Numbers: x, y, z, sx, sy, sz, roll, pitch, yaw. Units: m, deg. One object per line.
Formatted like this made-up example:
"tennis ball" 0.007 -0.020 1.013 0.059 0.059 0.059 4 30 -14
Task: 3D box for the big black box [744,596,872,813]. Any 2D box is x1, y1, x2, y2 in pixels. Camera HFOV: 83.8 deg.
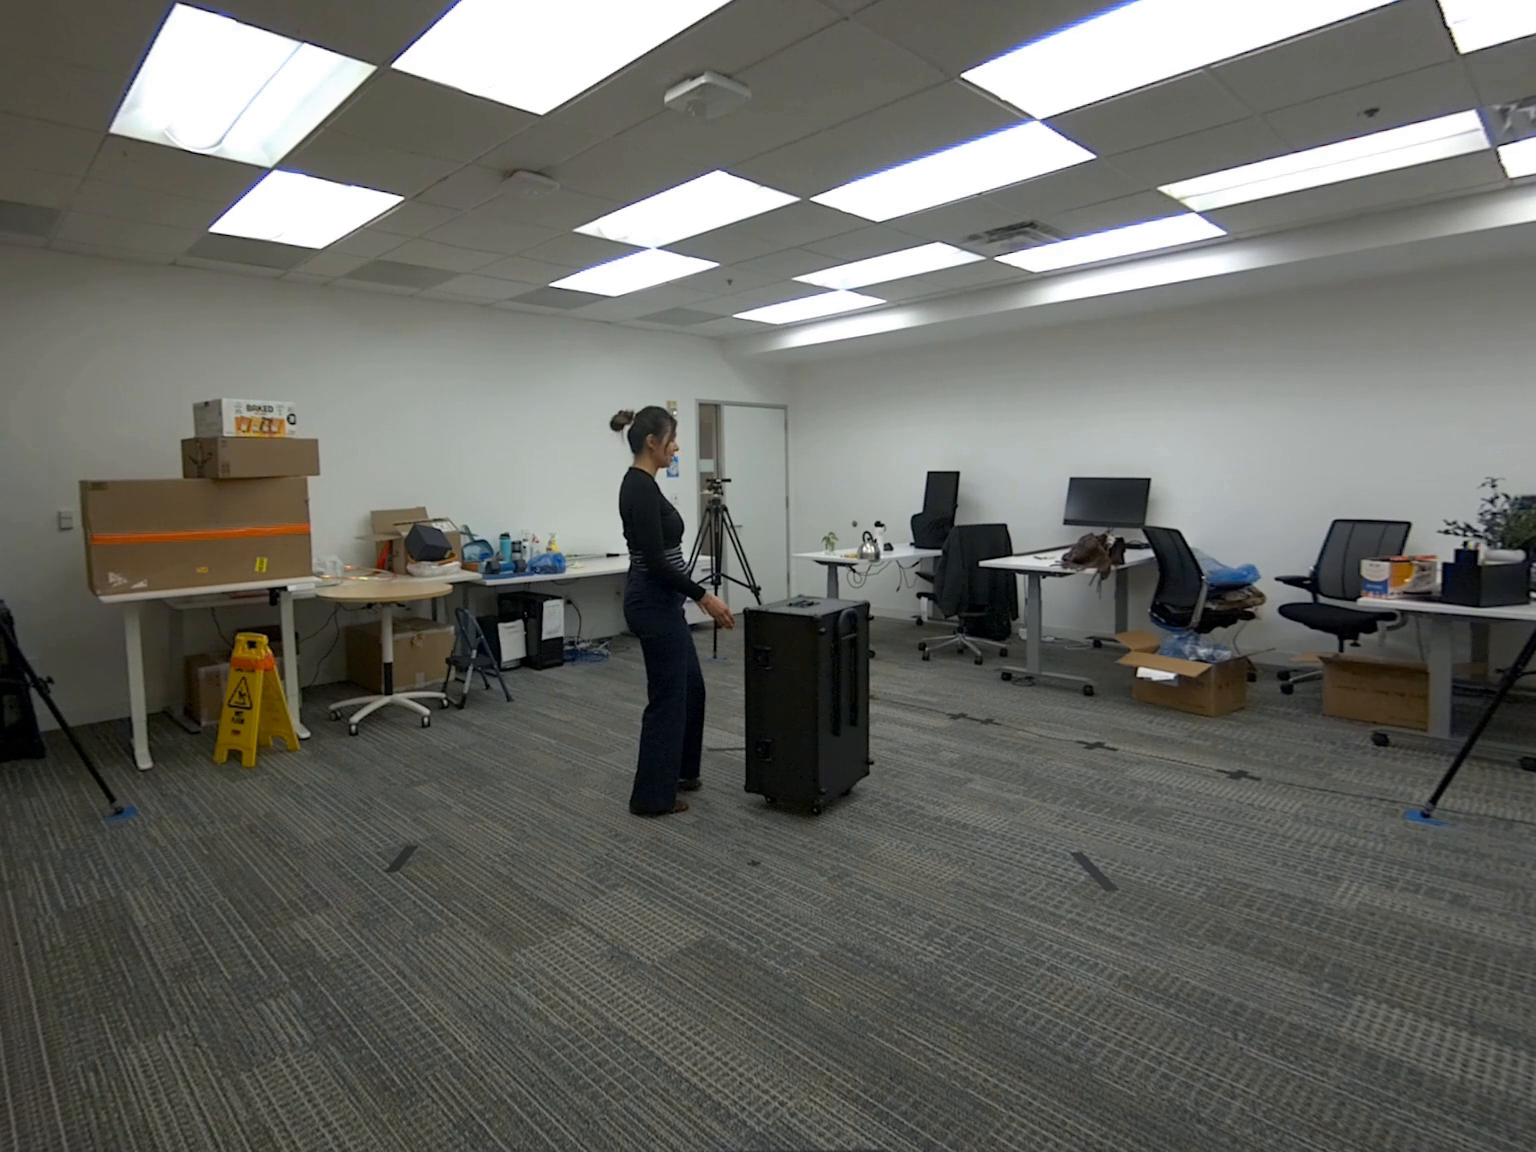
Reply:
"big black box" 0.185 0.549 3.696 0.407 0.858 0.509 3 6 33
